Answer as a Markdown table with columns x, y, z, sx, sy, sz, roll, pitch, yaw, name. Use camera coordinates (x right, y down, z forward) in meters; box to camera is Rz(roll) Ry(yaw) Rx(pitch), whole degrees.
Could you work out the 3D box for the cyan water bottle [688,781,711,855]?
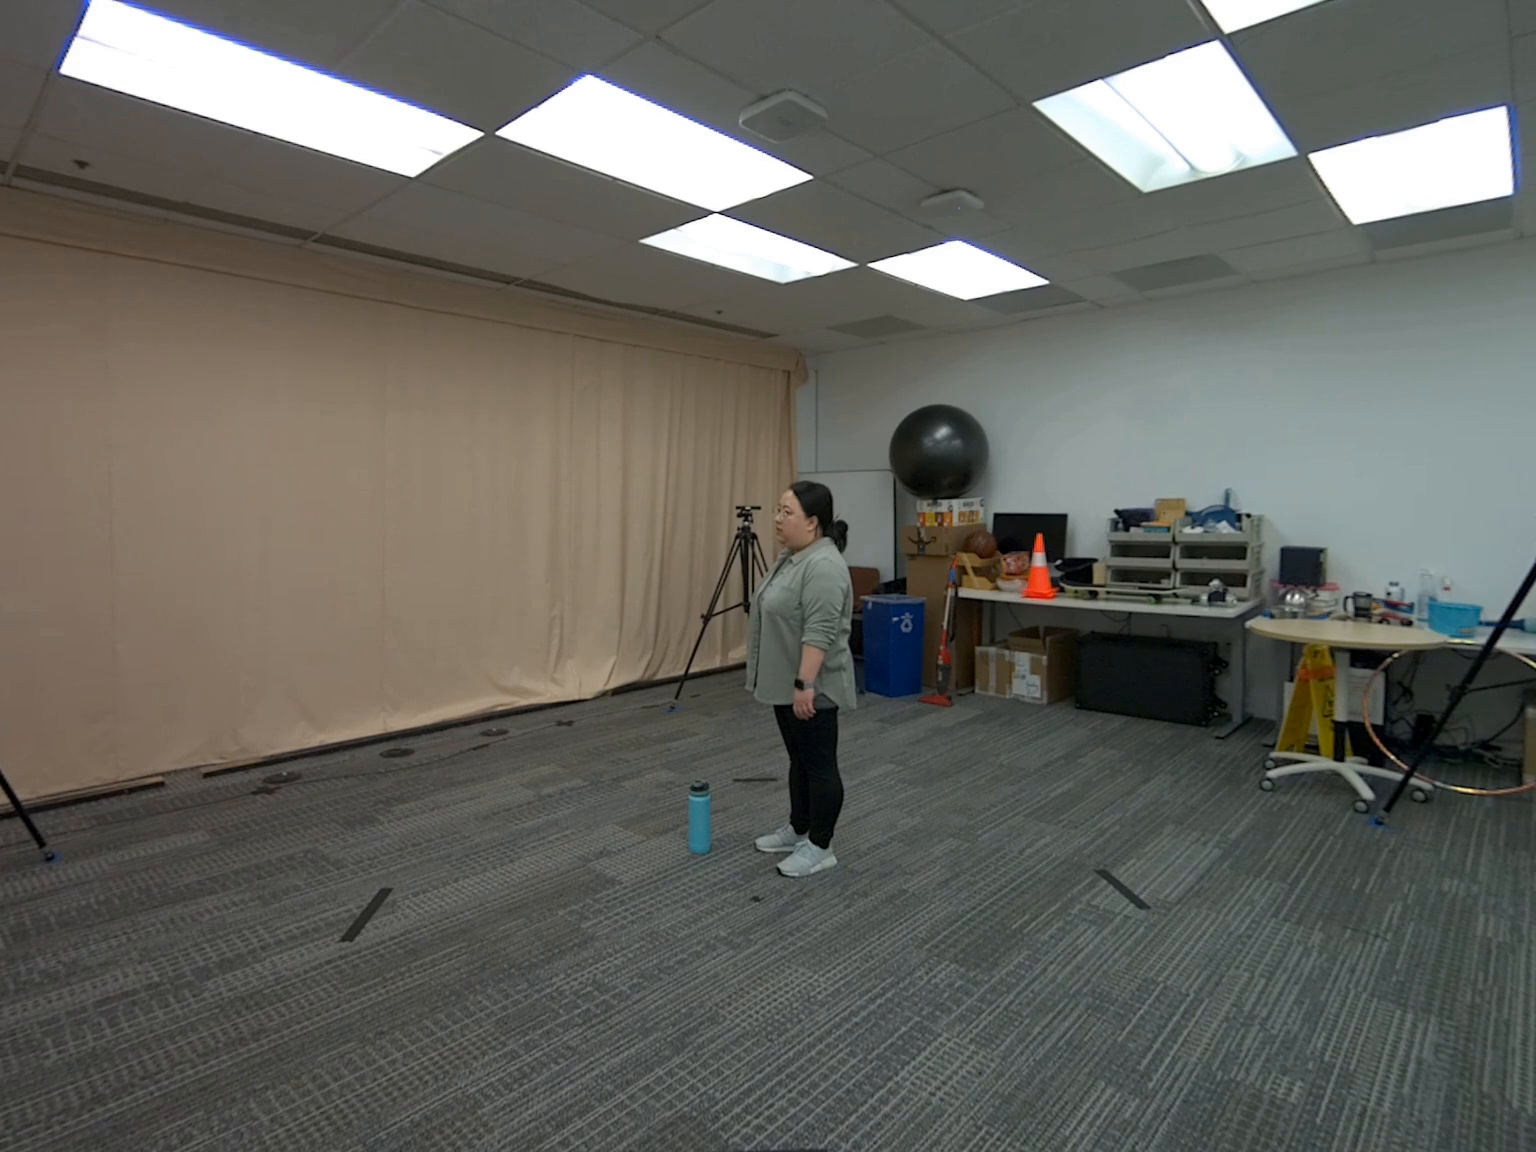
| x | y | z | sx | sy | sz | roll | pitch | yaw | name |
| --- | --- | --- | --- | --- | --- | --- | --- | --- | --- |
| -0.278 | 0.972 | 3.418 | 0.092 | 0.283 | 0.092 | -1 | 2 | -2 | cyan water bottle |
